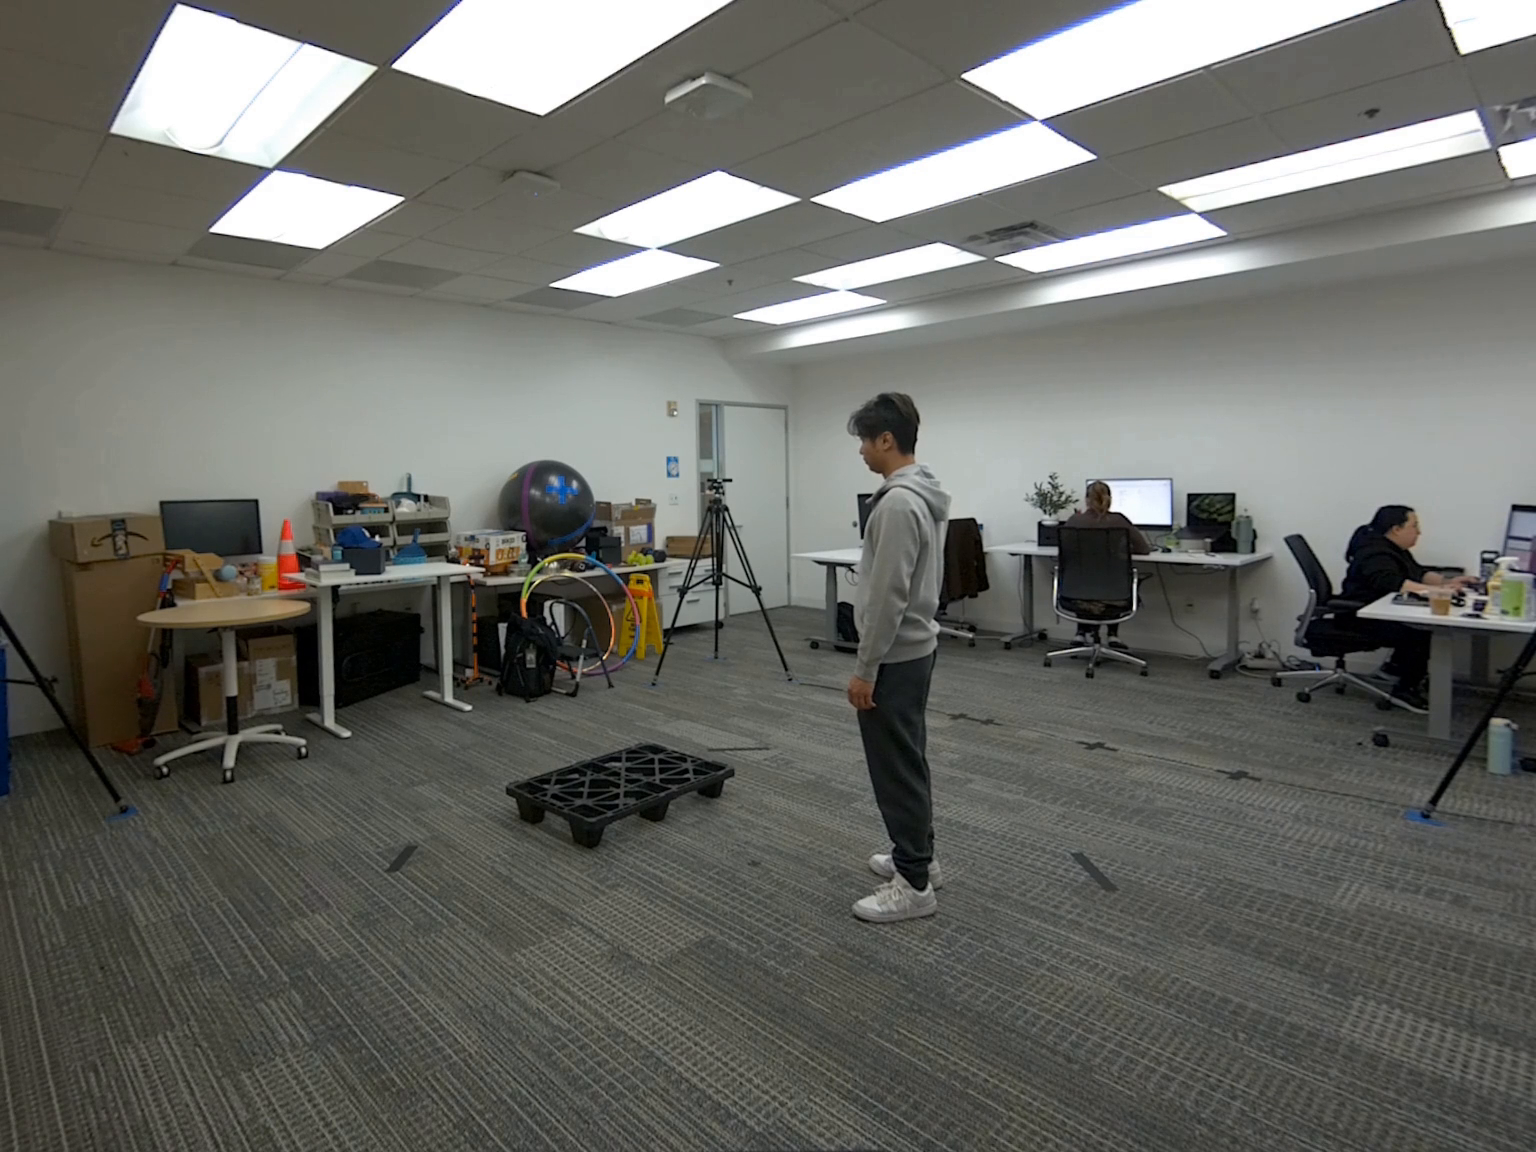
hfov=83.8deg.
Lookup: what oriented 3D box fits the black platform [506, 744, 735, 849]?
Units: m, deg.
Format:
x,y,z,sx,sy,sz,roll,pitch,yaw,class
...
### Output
x,y,z,sx,sy,sz,roll,pitch,yaw,class
-0.614,0.926,3.671,0.624,0.142,0.785,5,9,42,black platform
